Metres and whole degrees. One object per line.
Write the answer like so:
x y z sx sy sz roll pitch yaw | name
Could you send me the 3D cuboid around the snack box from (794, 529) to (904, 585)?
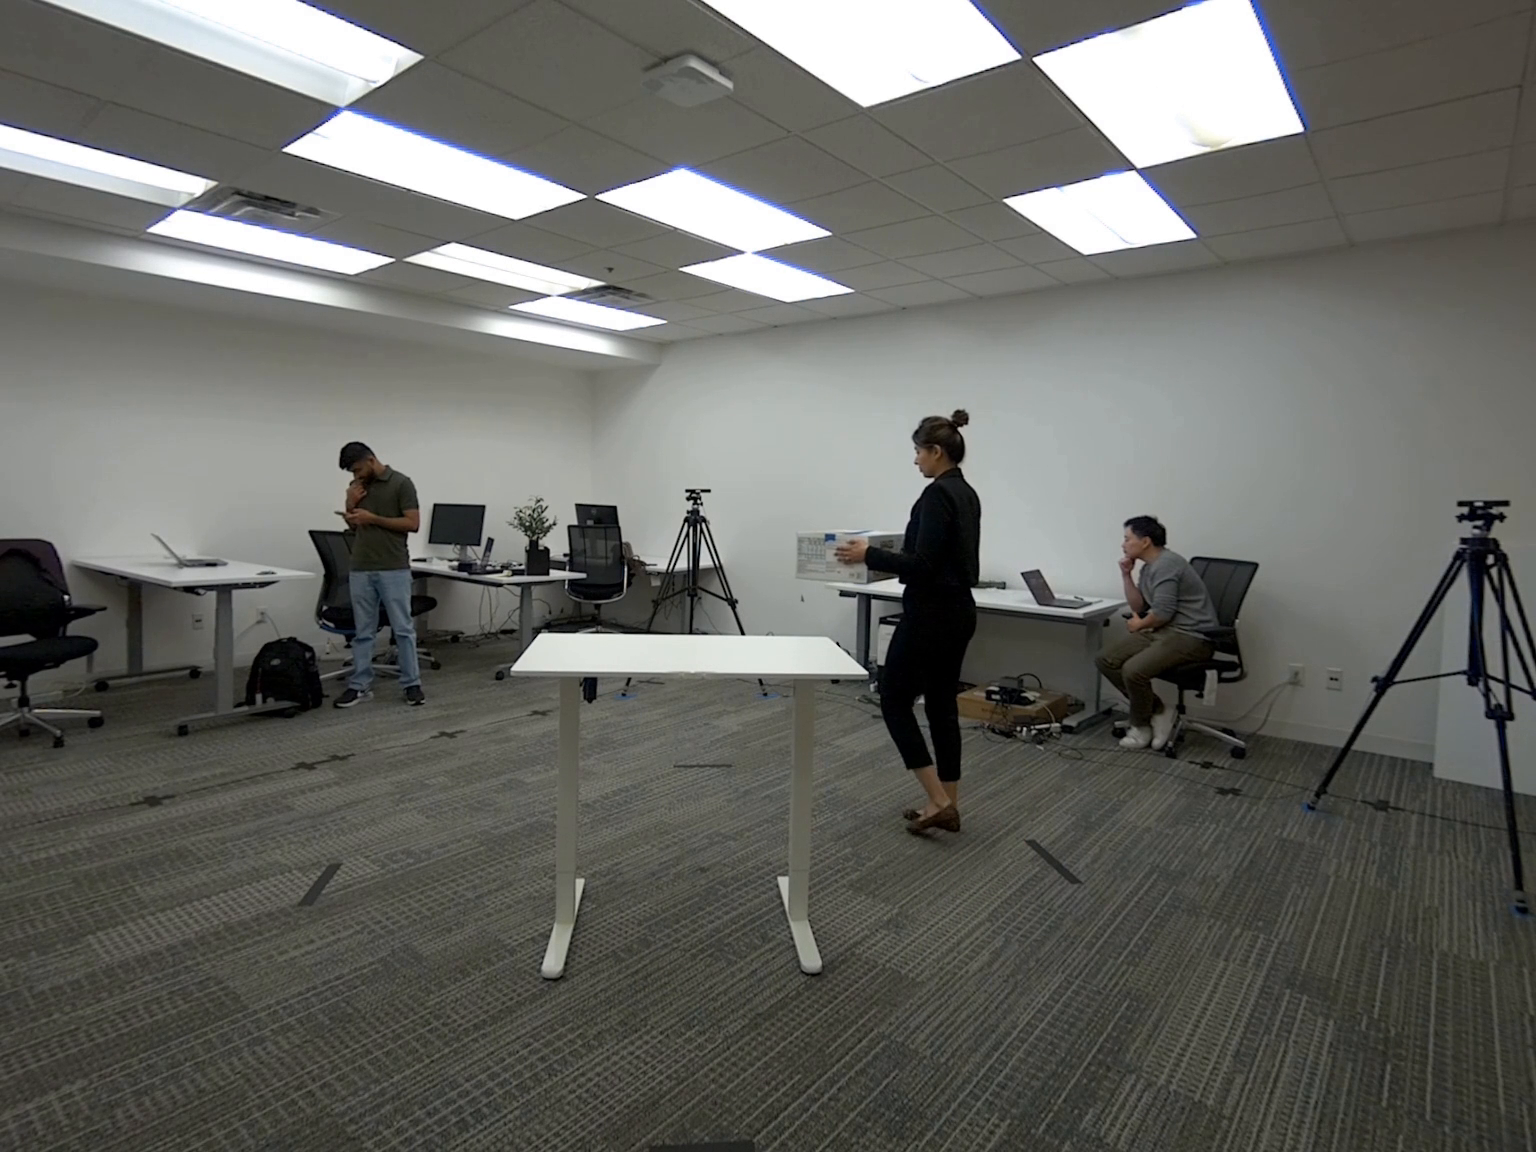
0.364 -0.095 3.754 0.351 0.205 0.394 4 6 32 | snack box
